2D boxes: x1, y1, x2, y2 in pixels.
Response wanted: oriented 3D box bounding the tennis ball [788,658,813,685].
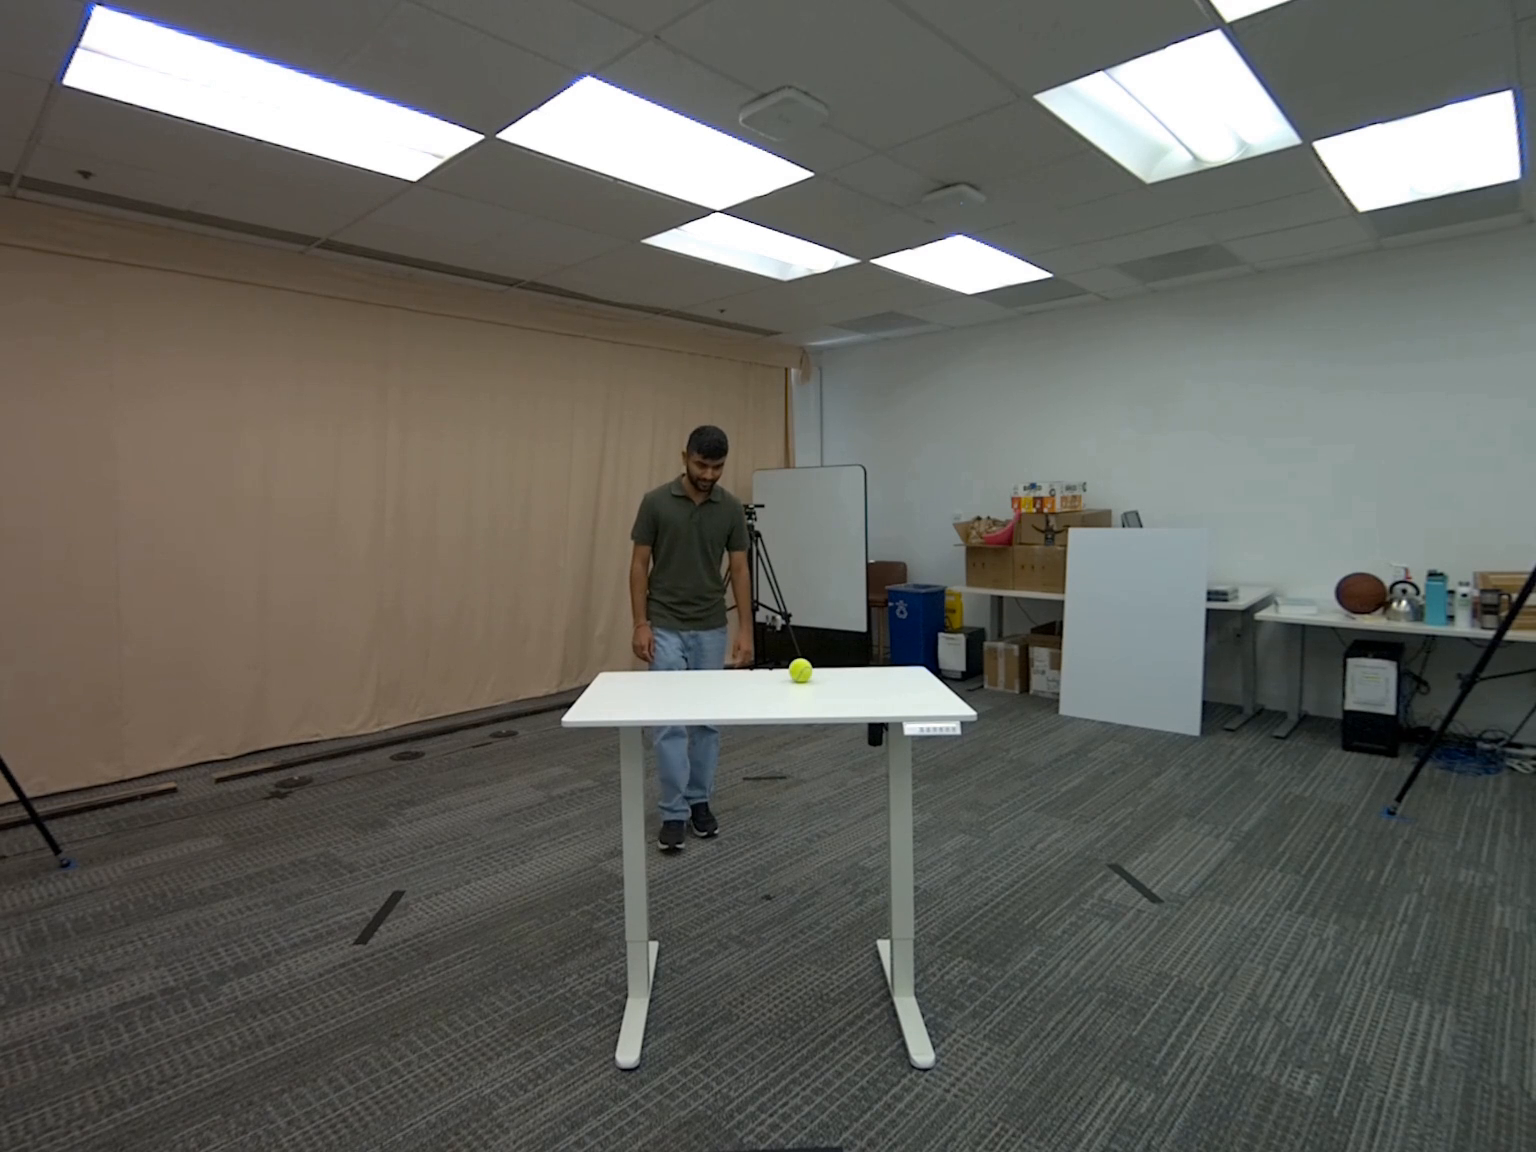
[{"bbox_3d":[0.102,0.269,2.417,0.066,0.066,0.067,-1,4,-2],"label":"tennis ball"}]
